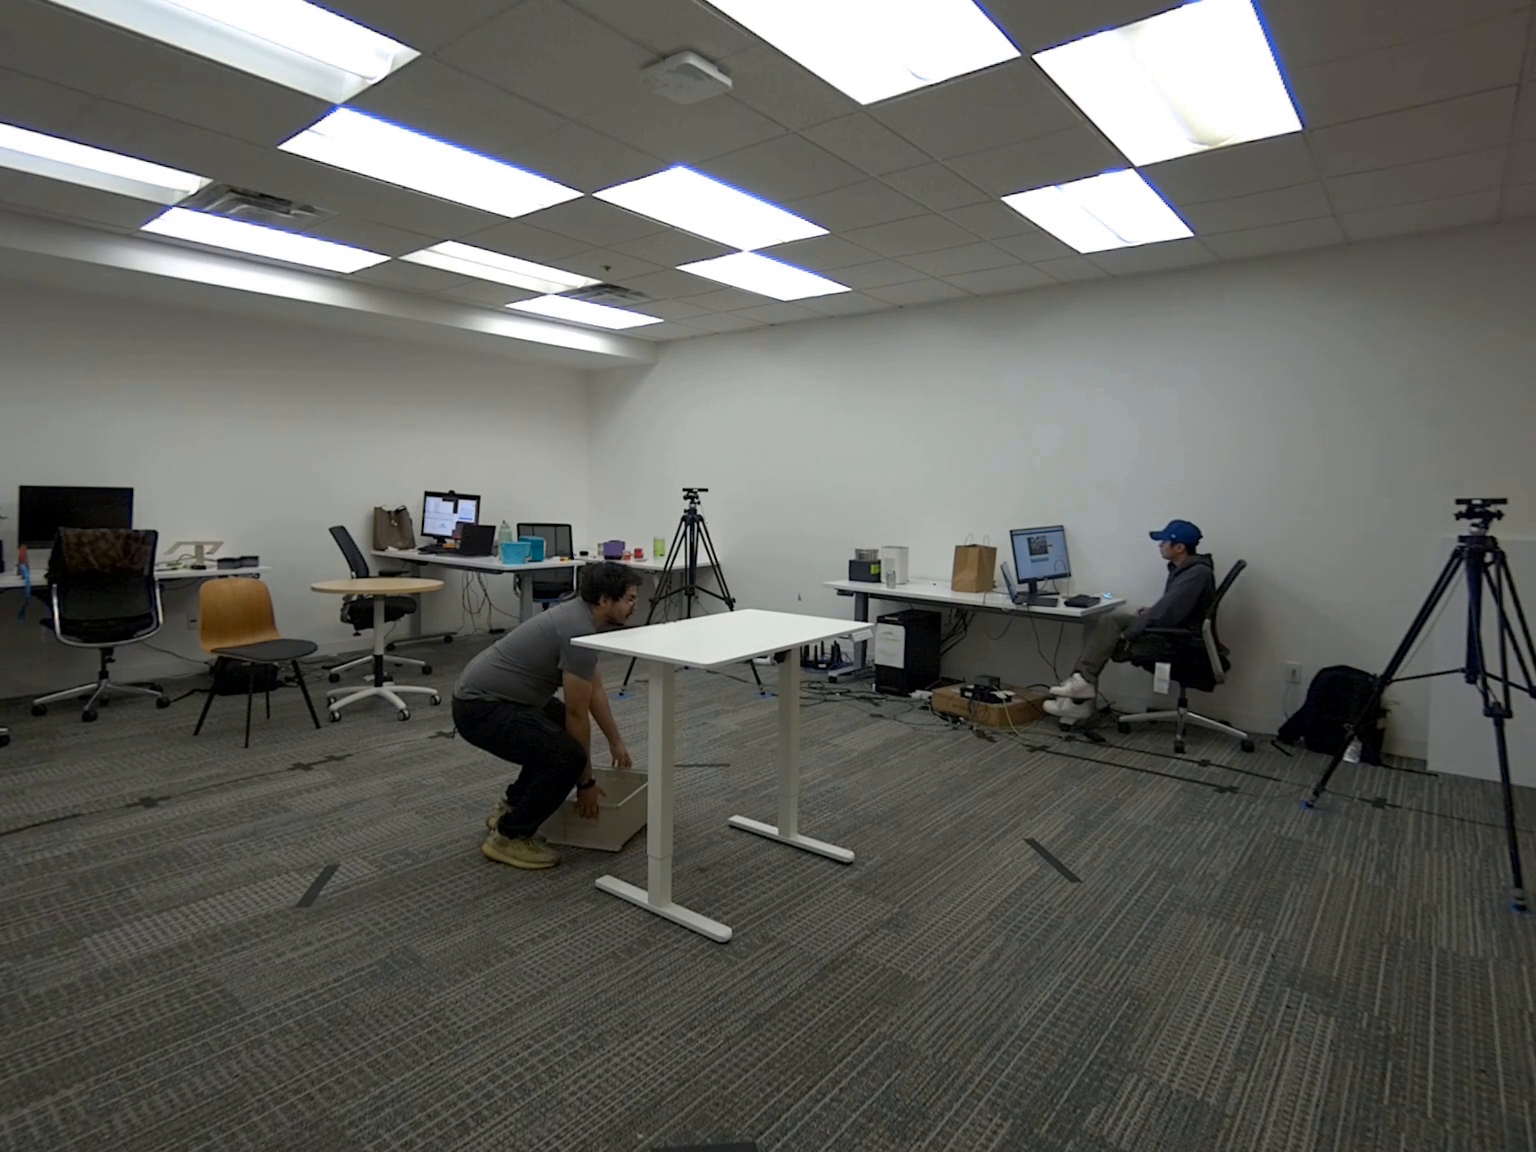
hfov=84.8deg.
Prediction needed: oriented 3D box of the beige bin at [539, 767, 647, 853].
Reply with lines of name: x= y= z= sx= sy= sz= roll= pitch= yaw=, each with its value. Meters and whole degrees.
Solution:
beige bin: x=-0.701 y=0.931 z=3.462 sx=0.384 sy=0.188 sz=0.415 roll=1 pitch=4 yaw=17
